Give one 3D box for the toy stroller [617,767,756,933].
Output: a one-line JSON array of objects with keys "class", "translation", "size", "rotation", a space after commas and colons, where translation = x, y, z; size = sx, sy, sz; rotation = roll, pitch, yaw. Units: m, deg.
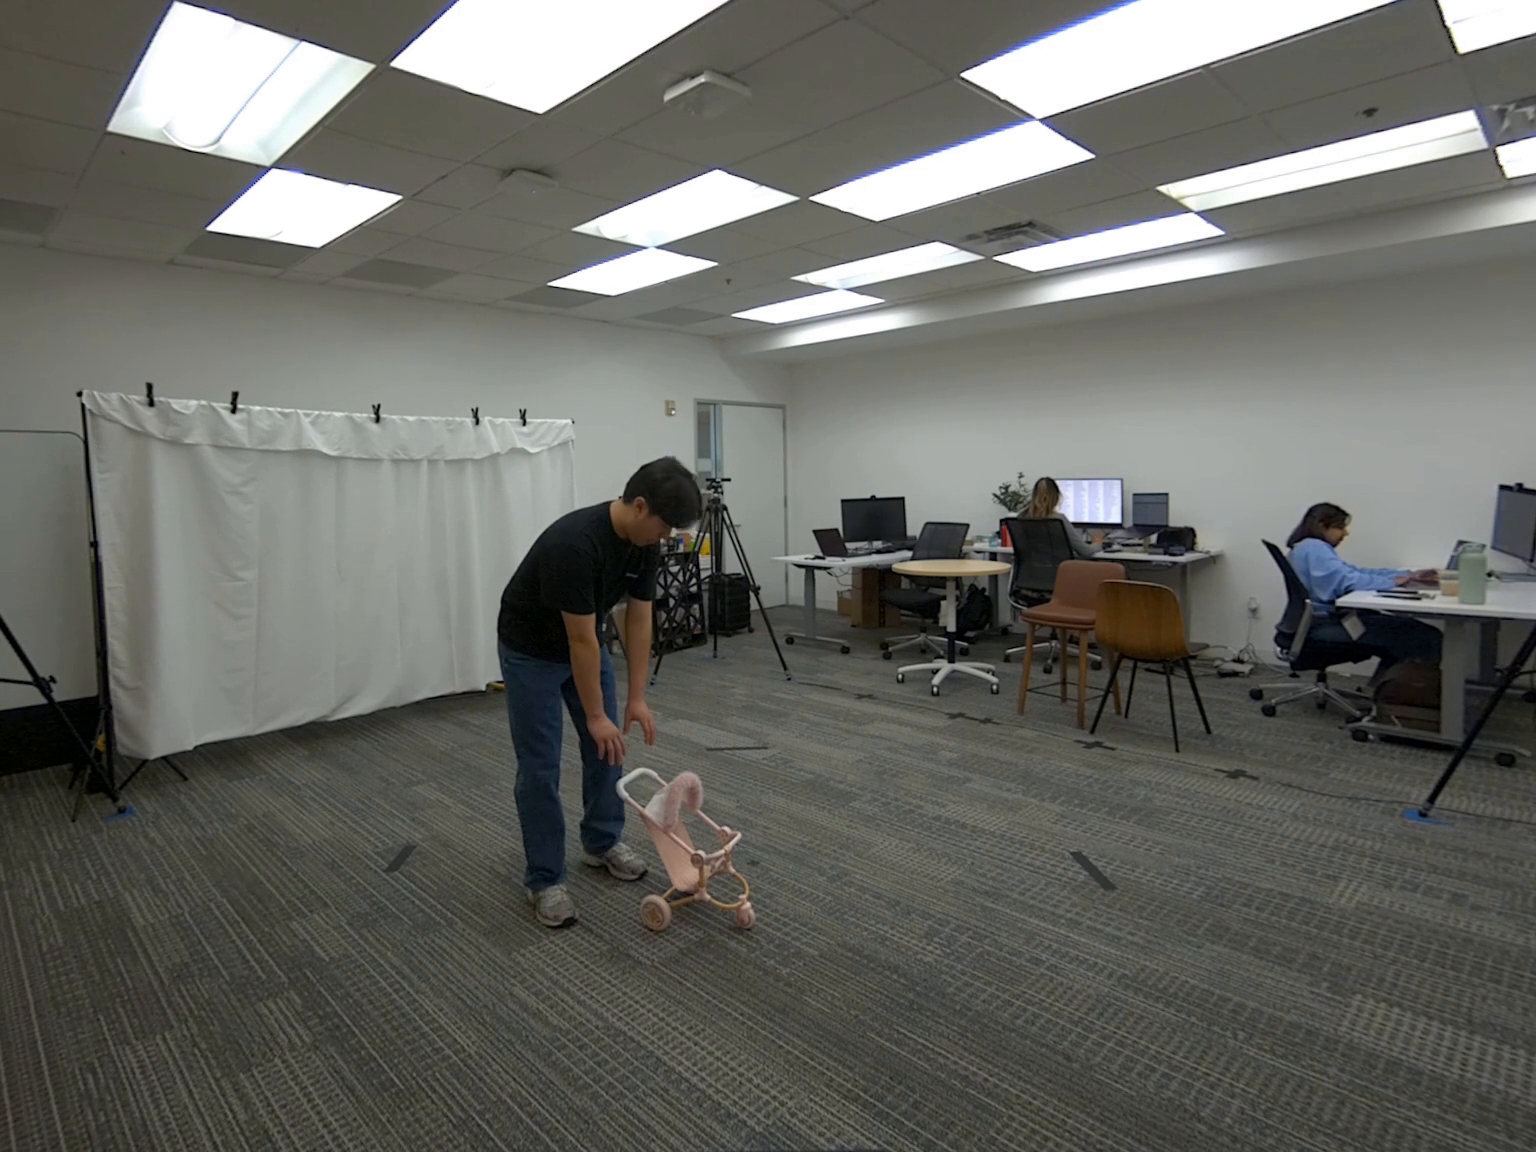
[{"class": "toy stroller", "translation": [-0.245, 0.865, 2.723], "size": [0.347, 0.537, 0.275], "rotation": [-17, -4, 29]}]
